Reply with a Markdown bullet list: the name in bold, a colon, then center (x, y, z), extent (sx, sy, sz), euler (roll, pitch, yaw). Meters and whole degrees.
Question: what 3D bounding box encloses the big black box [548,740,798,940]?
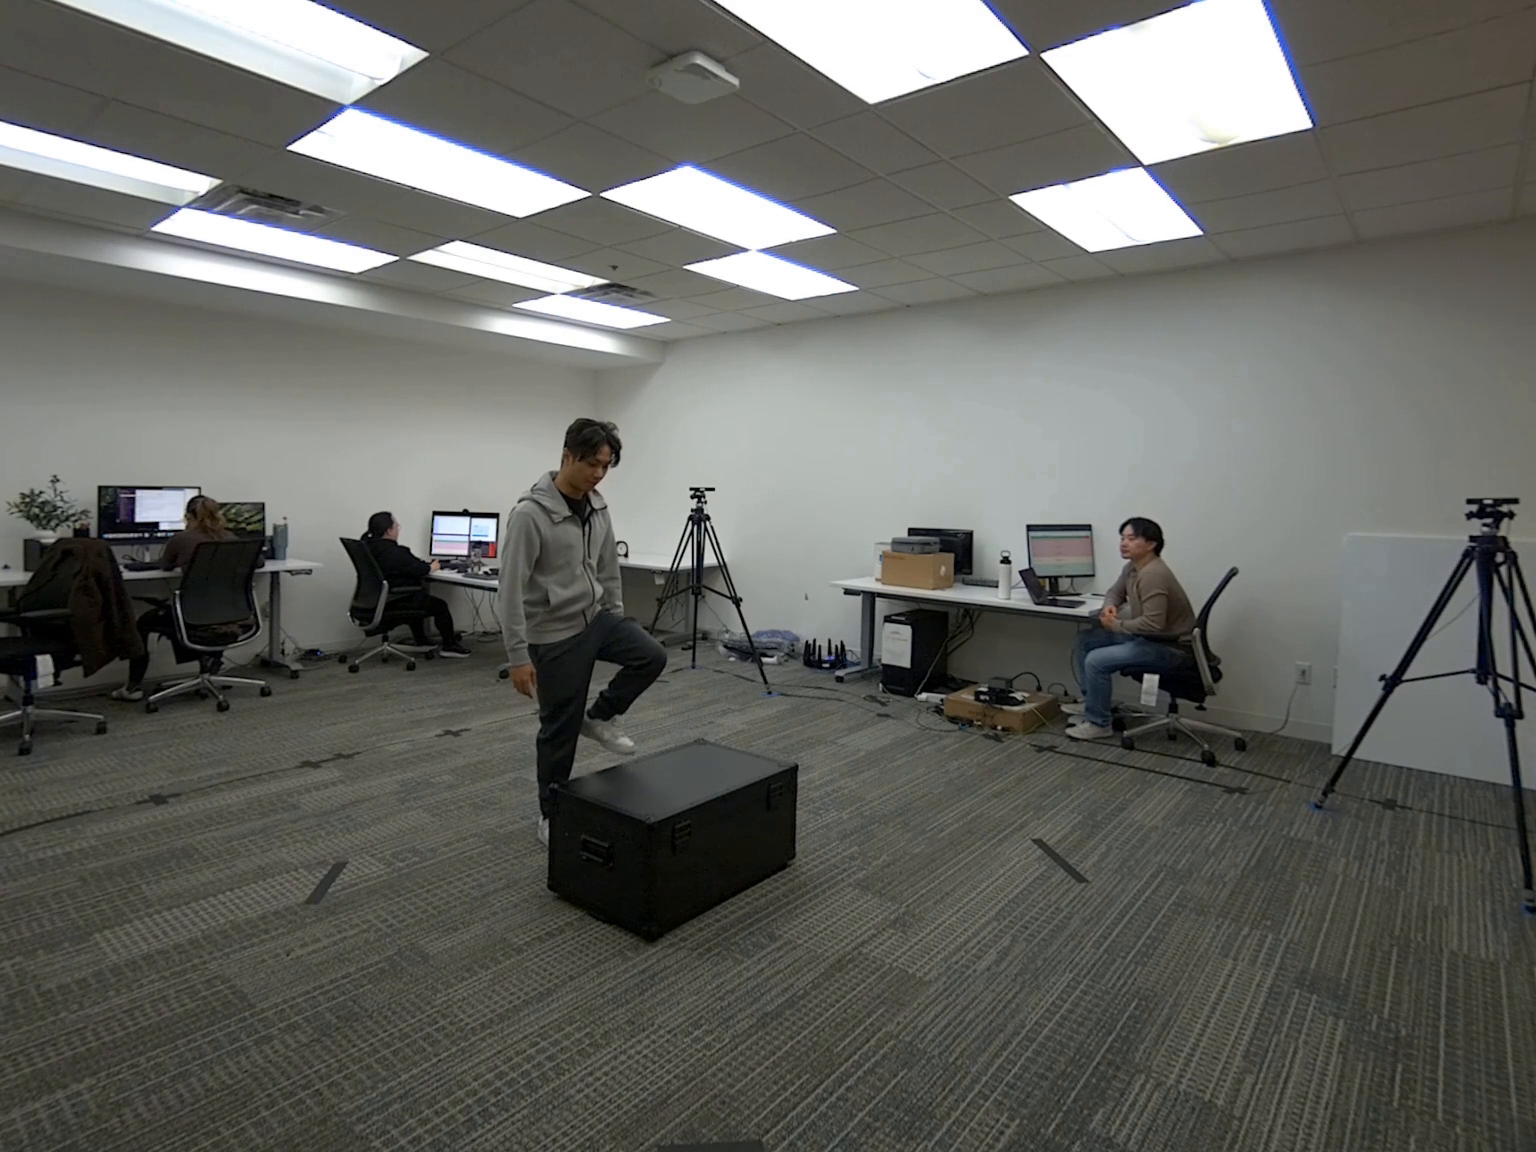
- **big black box**: center (-0.303, 0.882, 3.027), extent (0.538, 0.395, 0.837), euler (4, 7, 37)
